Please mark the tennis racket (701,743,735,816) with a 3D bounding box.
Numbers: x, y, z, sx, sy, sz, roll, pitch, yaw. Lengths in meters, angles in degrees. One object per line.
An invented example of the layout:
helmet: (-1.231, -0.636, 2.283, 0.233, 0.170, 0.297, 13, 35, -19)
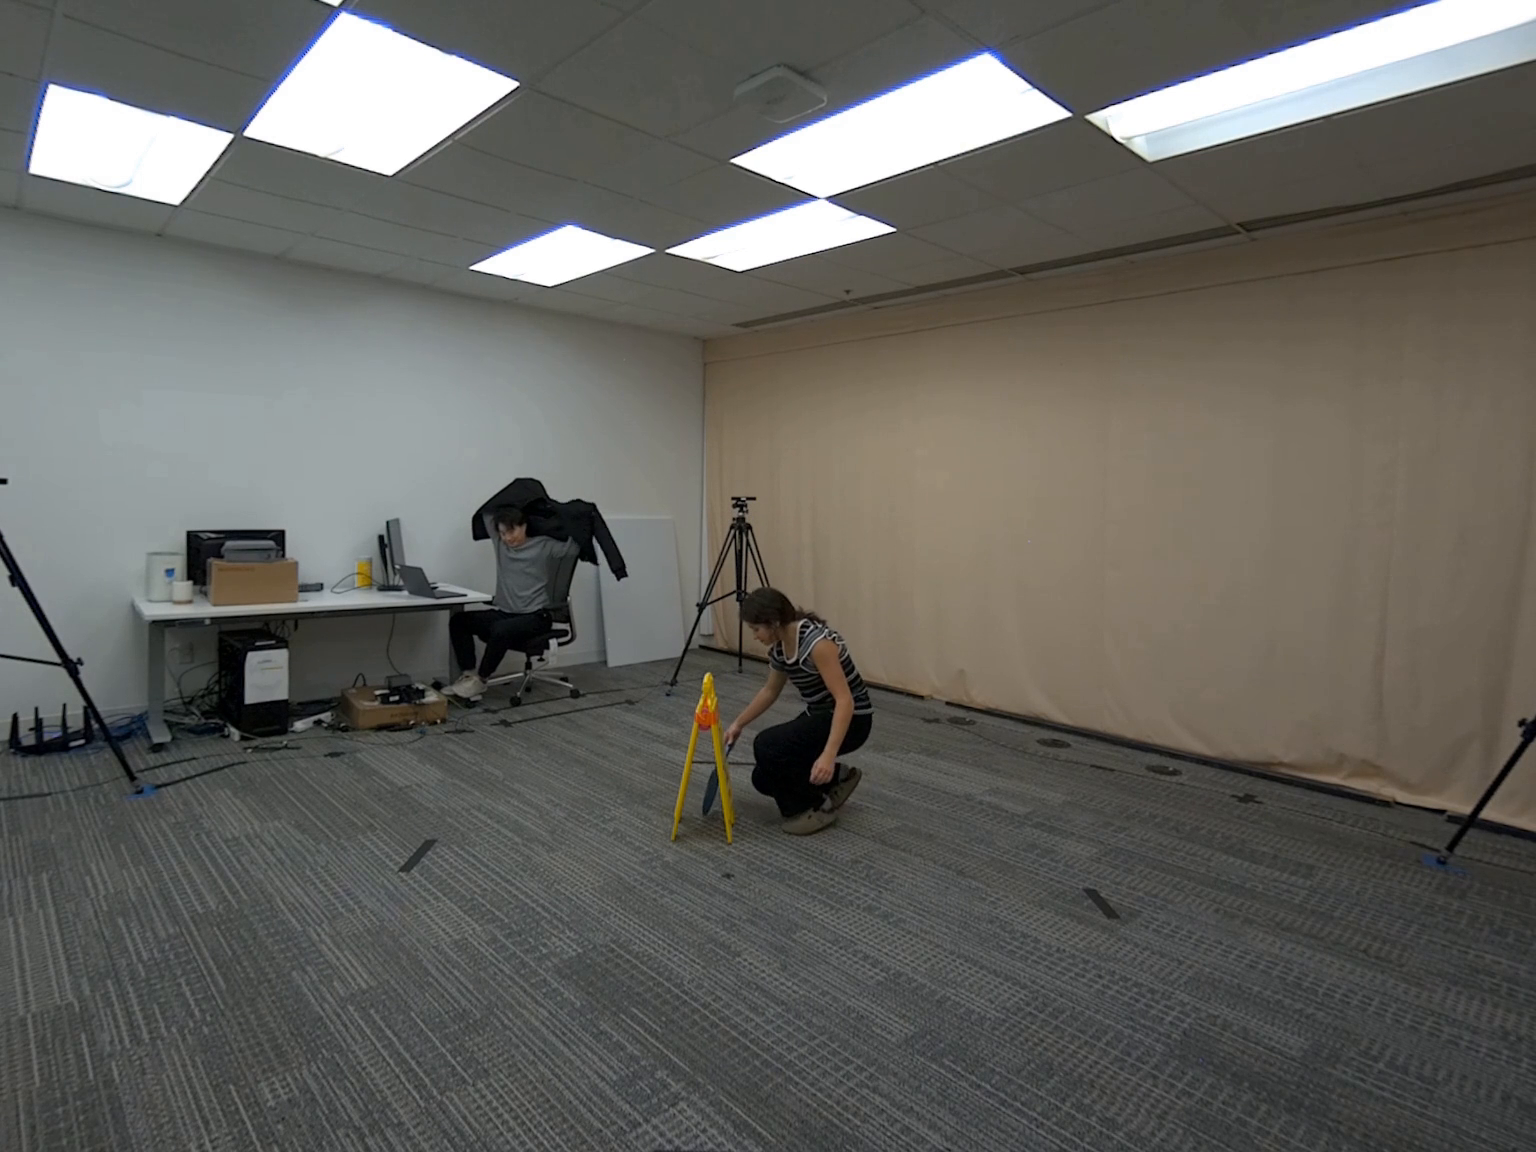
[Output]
tennis racket: (-0.228, 0.867, 3.745, 0.032, 0.209, 0.439, 10, 42, 6)
